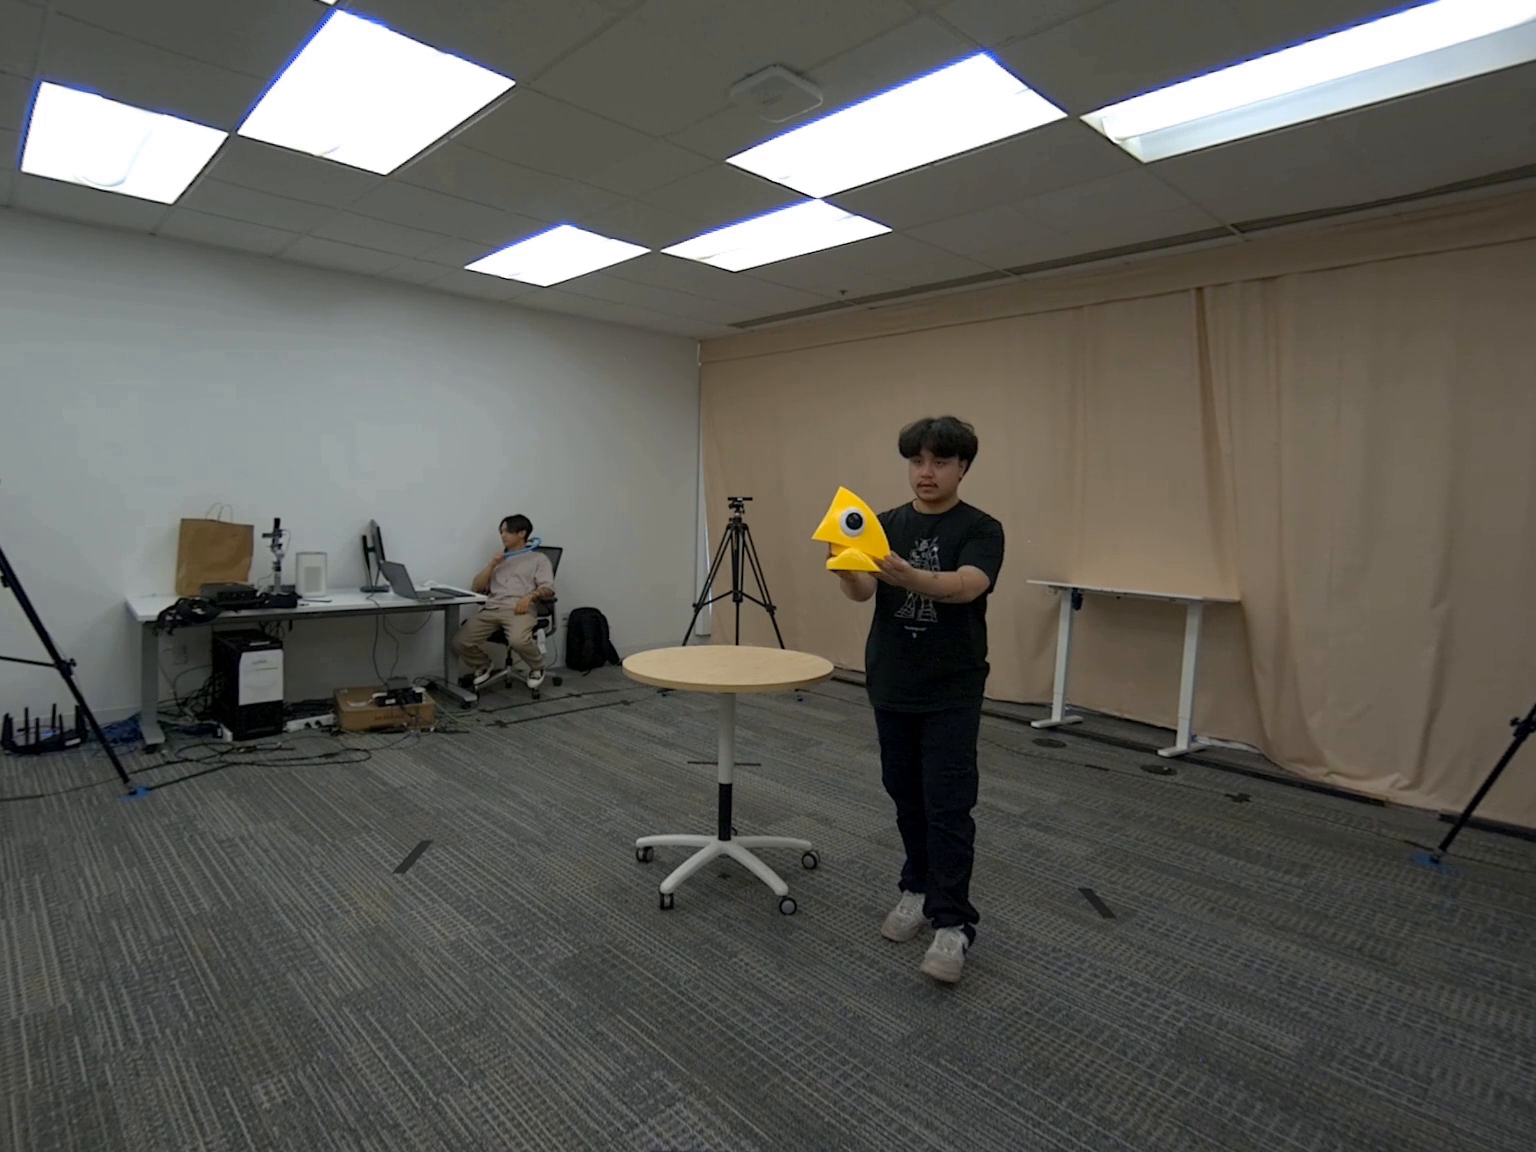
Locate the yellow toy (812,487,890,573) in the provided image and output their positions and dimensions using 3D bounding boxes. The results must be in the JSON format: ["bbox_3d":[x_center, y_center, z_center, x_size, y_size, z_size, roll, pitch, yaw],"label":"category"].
[{"bbox_3d":[0.245,-0.123,2.271,0.197,0.231,0.200,2,-2,28],"label":"yellow toy"}]
